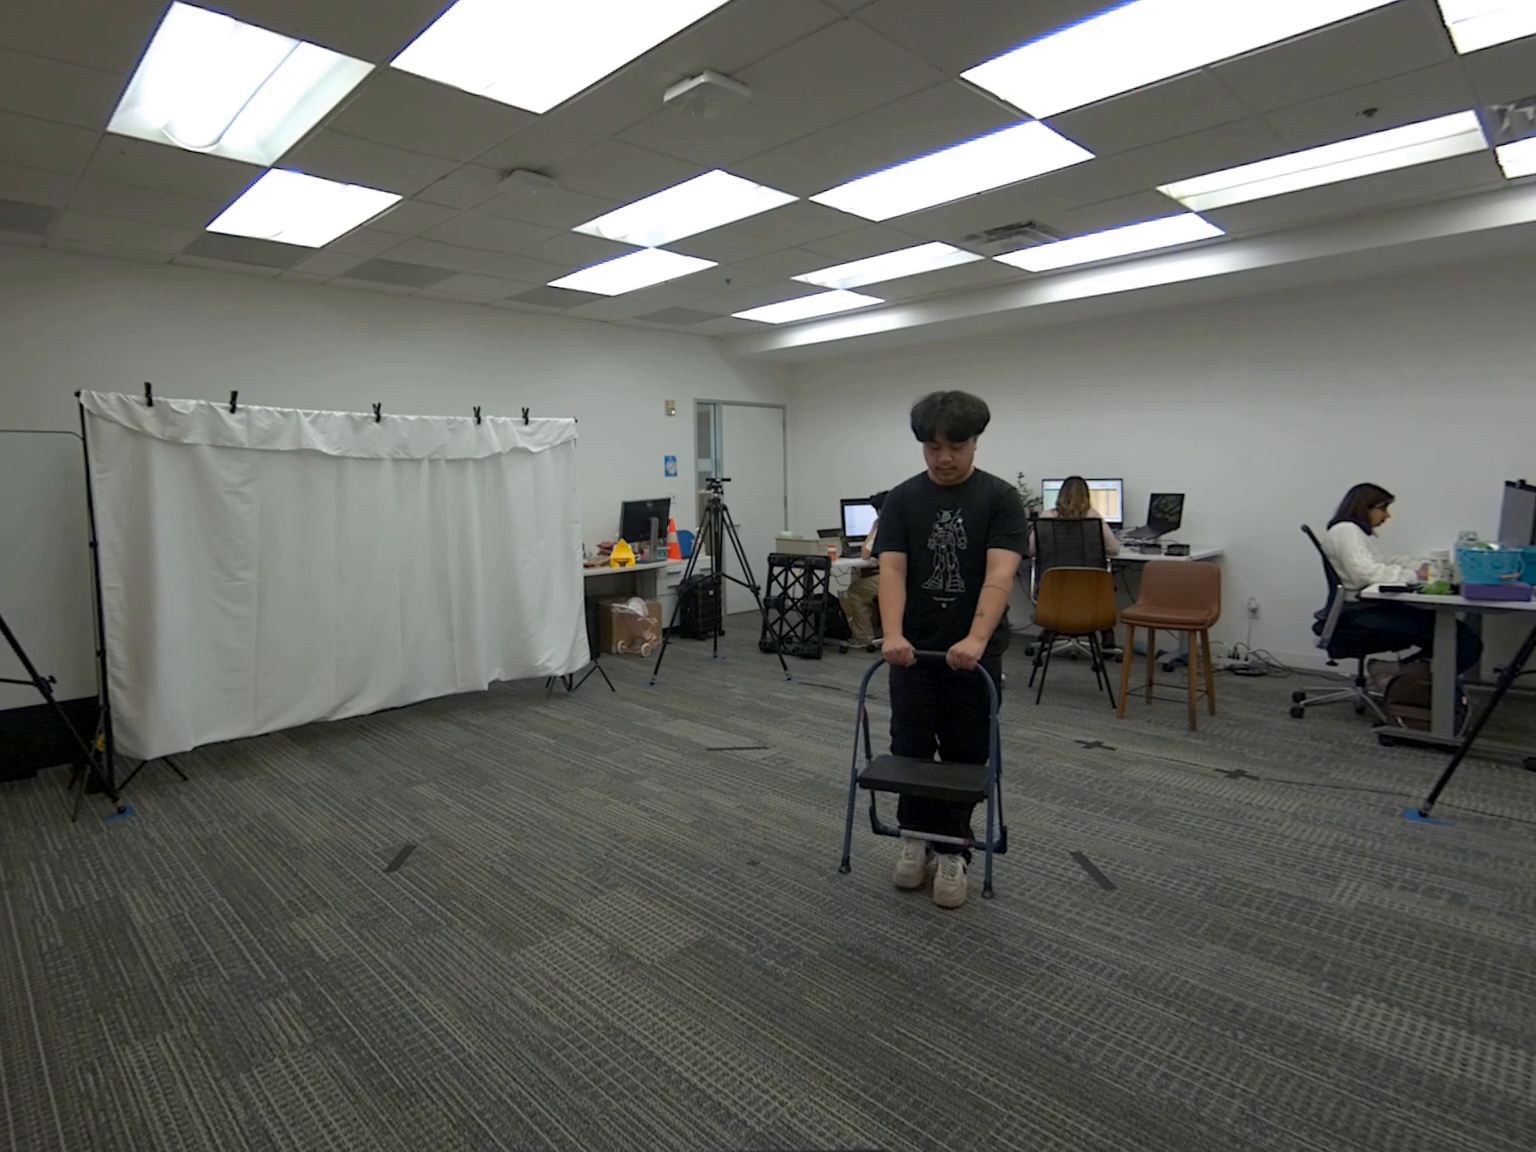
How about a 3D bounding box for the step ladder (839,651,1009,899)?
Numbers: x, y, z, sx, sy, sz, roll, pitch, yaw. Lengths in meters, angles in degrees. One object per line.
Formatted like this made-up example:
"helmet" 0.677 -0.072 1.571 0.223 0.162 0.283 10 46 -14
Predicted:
"step ladder" 0.464 0.544 2.495 0.440 0.605 0.342 1 2 25
